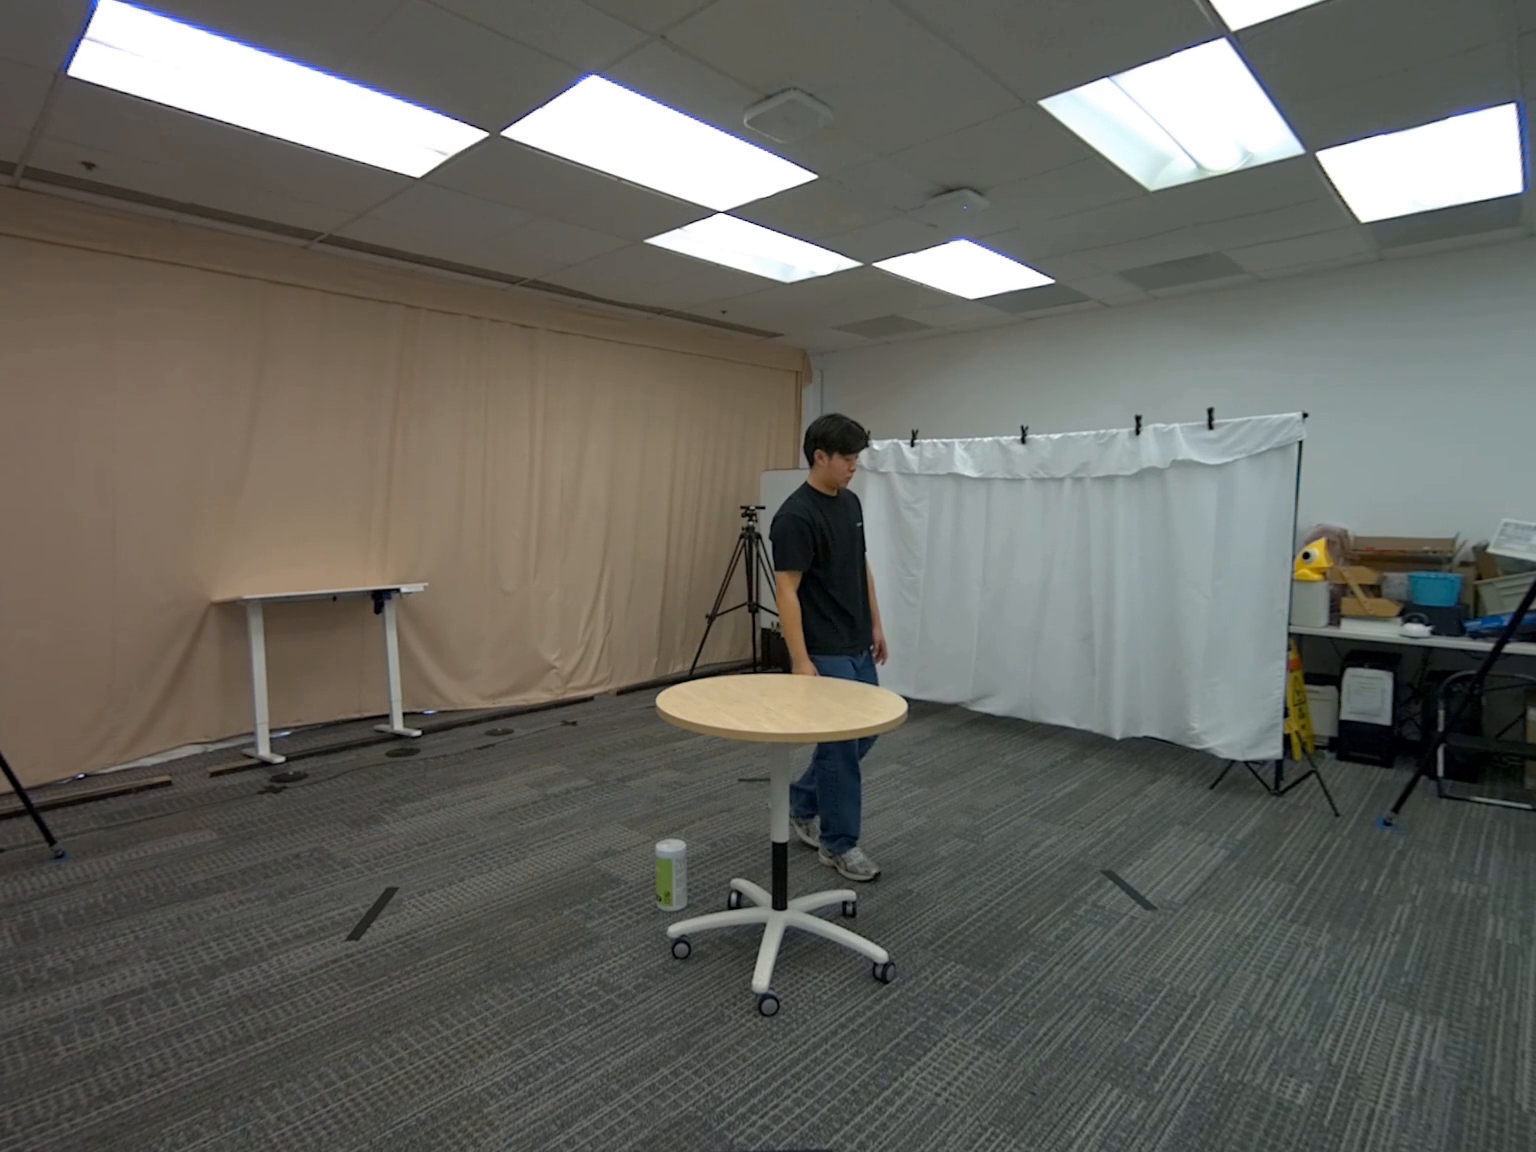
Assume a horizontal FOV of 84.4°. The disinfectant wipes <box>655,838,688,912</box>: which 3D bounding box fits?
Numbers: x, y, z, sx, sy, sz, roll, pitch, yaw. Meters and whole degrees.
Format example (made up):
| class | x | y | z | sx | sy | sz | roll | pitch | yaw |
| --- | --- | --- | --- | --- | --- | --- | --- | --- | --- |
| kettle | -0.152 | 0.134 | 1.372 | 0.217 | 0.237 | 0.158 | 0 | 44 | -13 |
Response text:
| class | x | y | z | sx | sy | sz | roll | pitch | yaw |
| --- | --- | --- | --- | --- | --- | --- | --- | --- | --- |
| disinfectant wipes | -0.340 | 1.048 | 2.937 | 0.118 | 0.217 | 0.118 | -1 | 4 | -2 |
